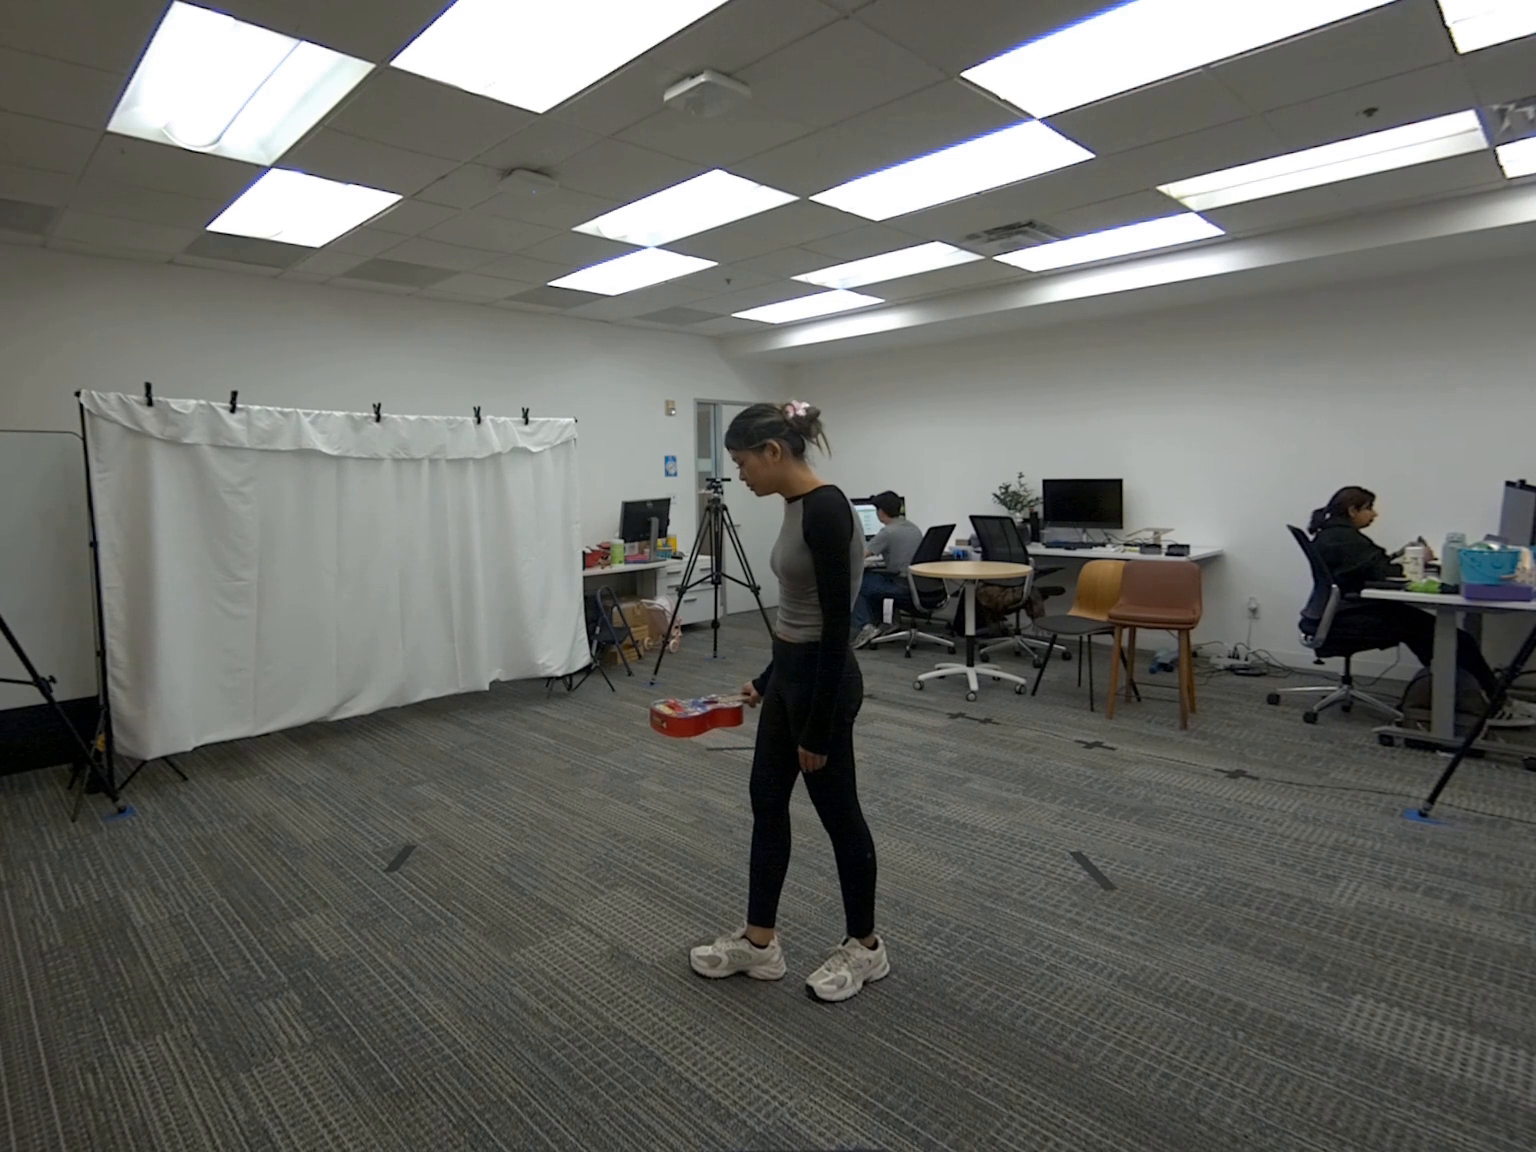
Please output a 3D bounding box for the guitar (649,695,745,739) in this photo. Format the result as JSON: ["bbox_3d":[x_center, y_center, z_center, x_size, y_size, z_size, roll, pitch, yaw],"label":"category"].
[{"bbox_3d":[-0.100,0.386,2.498,0.488,0.070,0.198,-3,8,-22],"label":"guitar"}]
